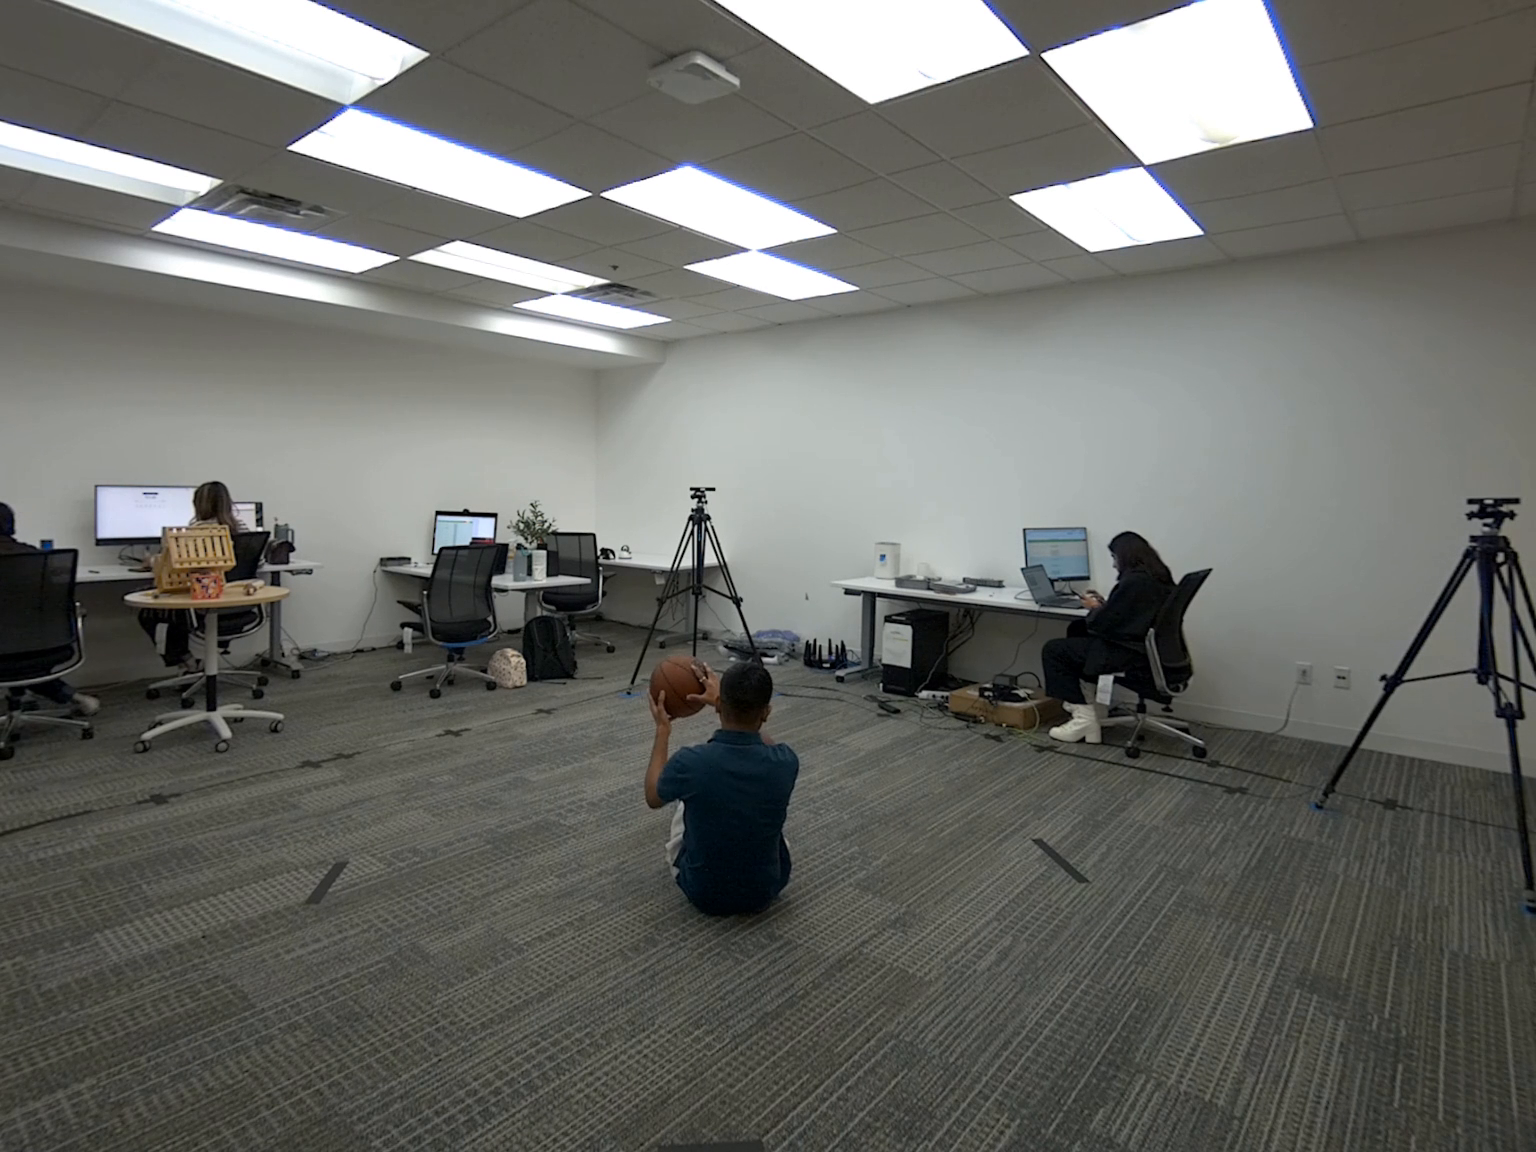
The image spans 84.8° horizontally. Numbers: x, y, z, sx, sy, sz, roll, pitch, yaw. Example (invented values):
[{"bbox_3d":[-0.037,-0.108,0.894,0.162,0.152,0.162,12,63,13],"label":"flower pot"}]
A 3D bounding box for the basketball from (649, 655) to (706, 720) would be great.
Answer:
[{"bbox_3d":[-0.328,0.423,3.231,0.235,0.235,0.237,1,4,-2],"label":"basketball"}]
